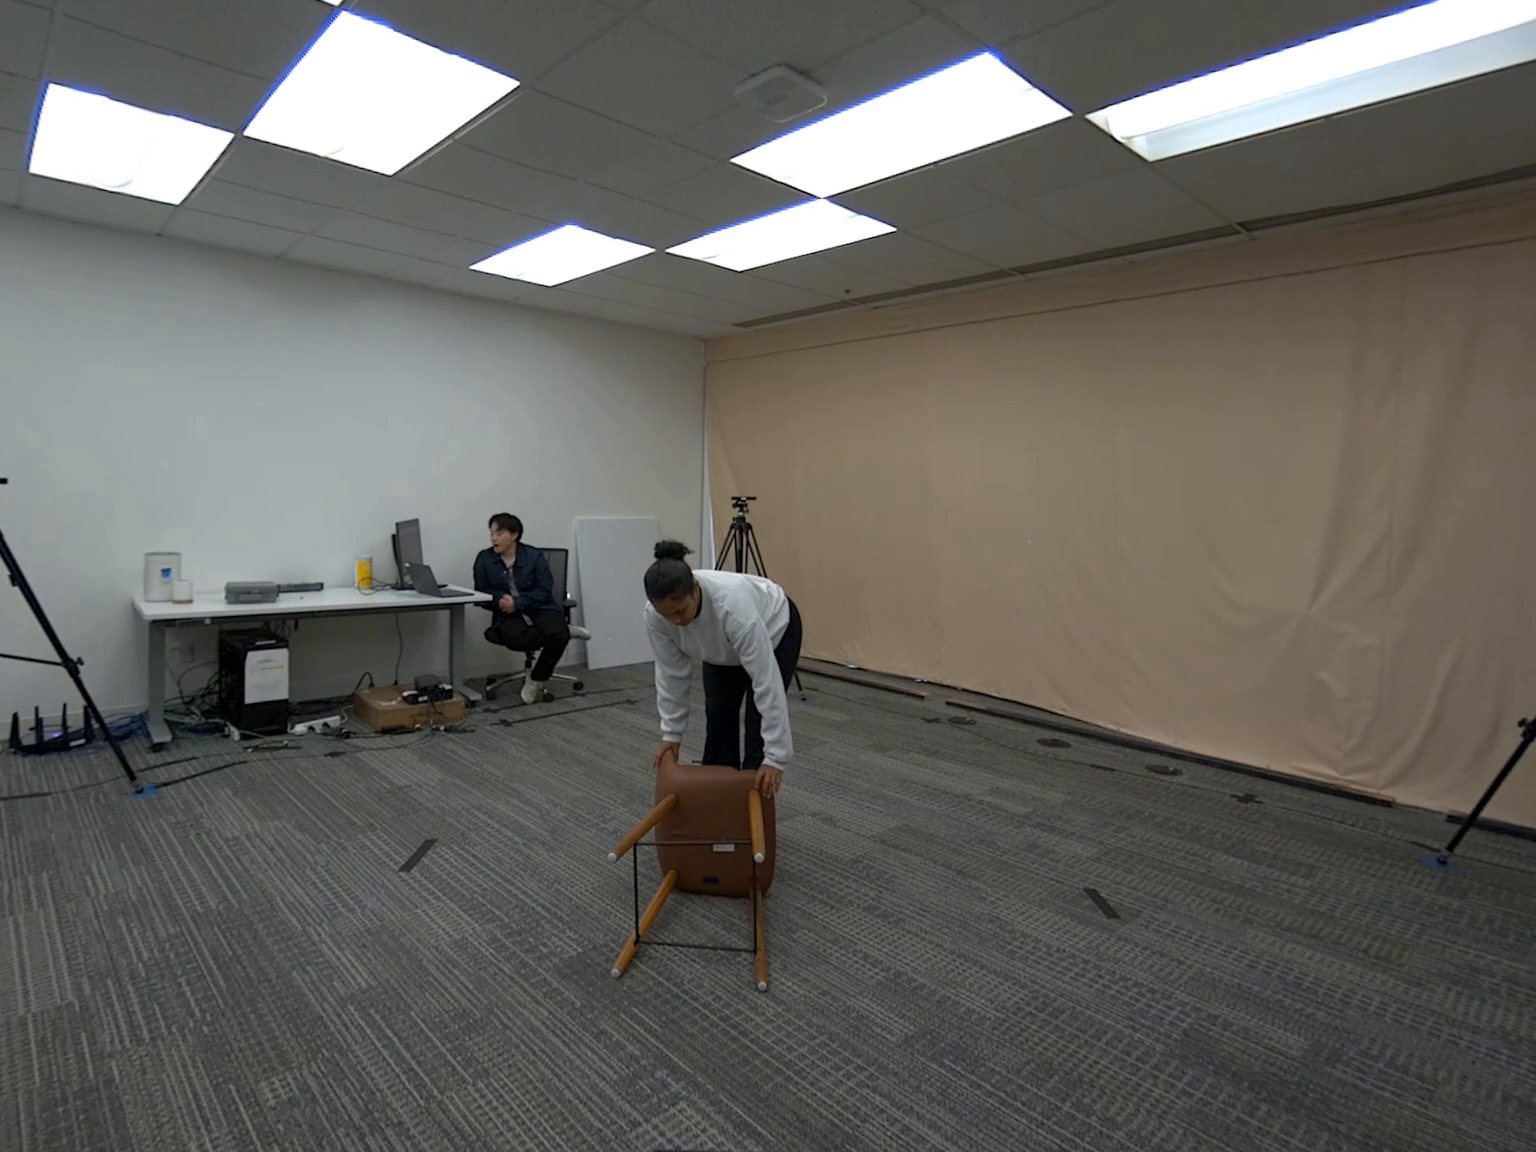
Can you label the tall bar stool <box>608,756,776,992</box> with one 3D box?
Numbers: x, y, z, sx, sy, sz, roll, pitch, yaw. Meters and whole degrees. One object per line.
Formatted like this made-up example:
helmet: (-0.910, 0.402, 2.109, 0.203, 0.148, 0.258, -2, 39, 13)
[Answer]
tall bar stool: (-0.215, 0.918, 2.808, 0.469, 0.454, 0.891, -1, 7, 2)
